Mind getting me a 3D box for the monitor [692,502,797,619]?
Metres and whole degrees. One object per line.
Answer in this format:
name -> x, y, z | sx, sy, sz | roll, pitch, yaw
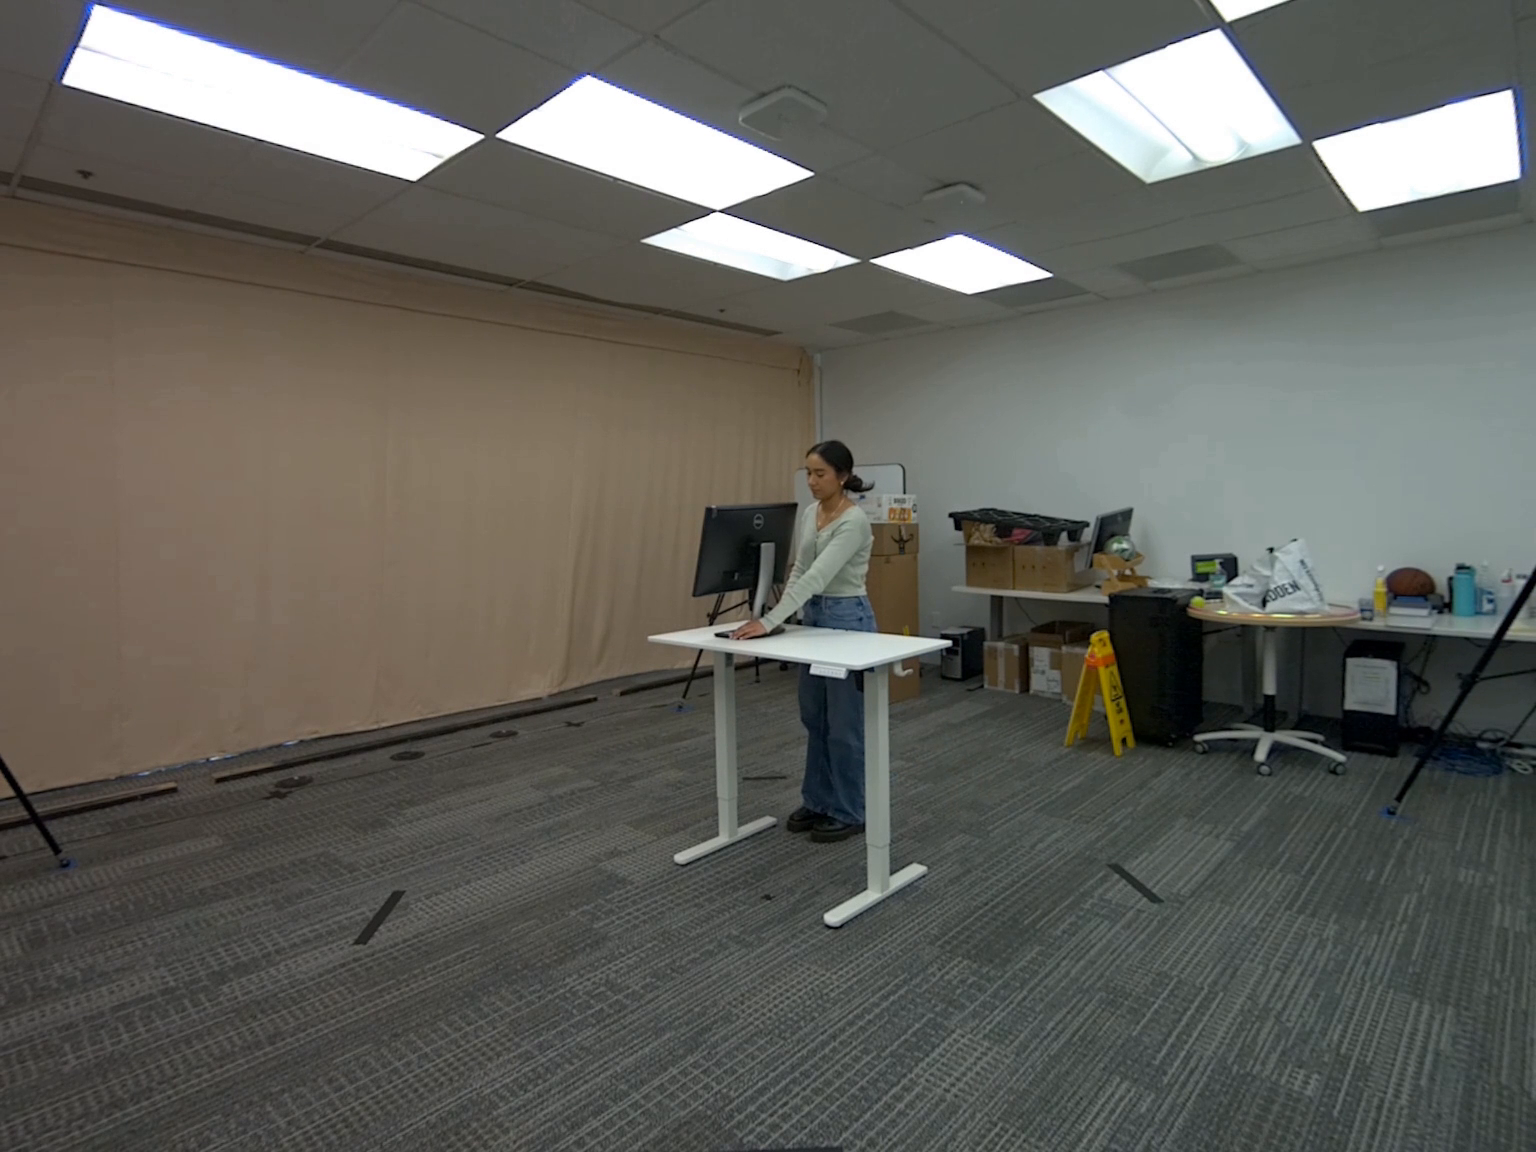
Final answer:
monitor -> -0.061, -0.025, 3.306 | 0.180, 0.515, 0.514 | -2, 3, 42
